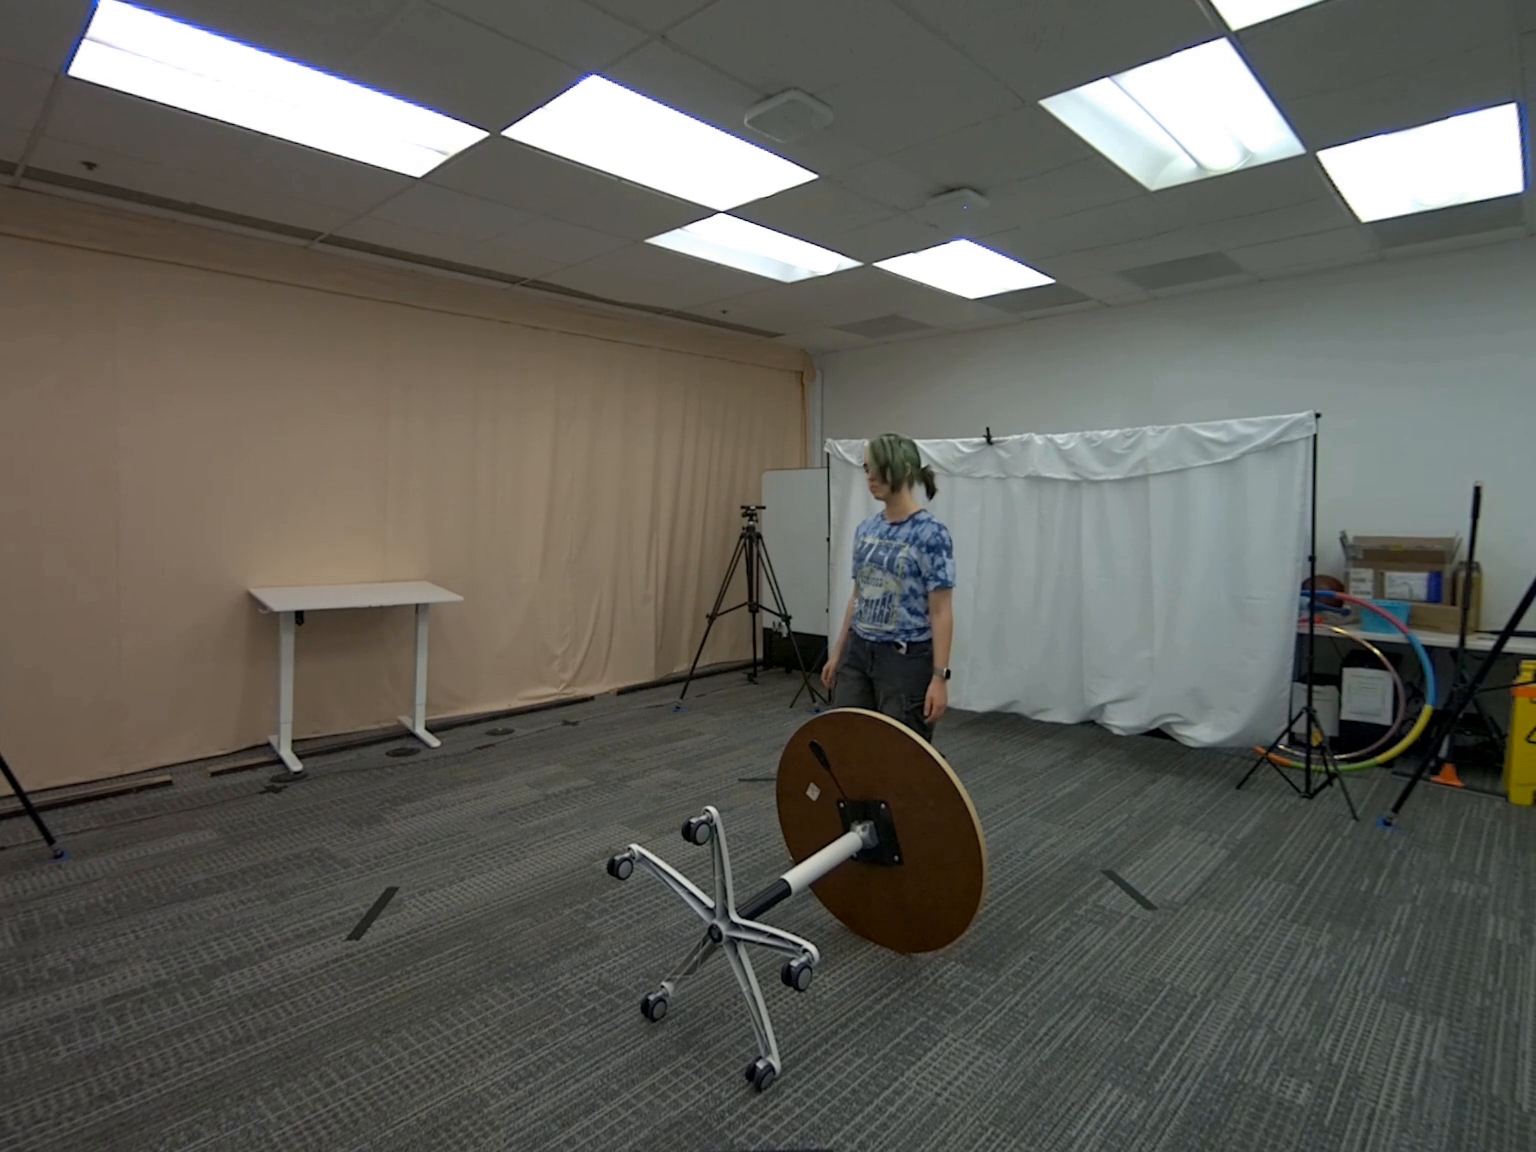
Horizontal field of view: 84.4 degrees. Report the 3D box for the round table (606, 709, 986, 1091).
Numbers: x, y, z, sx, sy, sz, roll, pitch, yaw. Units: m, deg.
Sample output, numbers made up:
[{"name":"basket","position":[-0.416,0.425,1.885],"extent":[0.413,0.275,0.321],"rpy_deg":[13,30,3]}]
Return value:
[{"name":"round table","position":[0.074,0.859,2.362],"extent":[0.789,0.759,0.773],"rpy_deg":[4,12,43]}]
